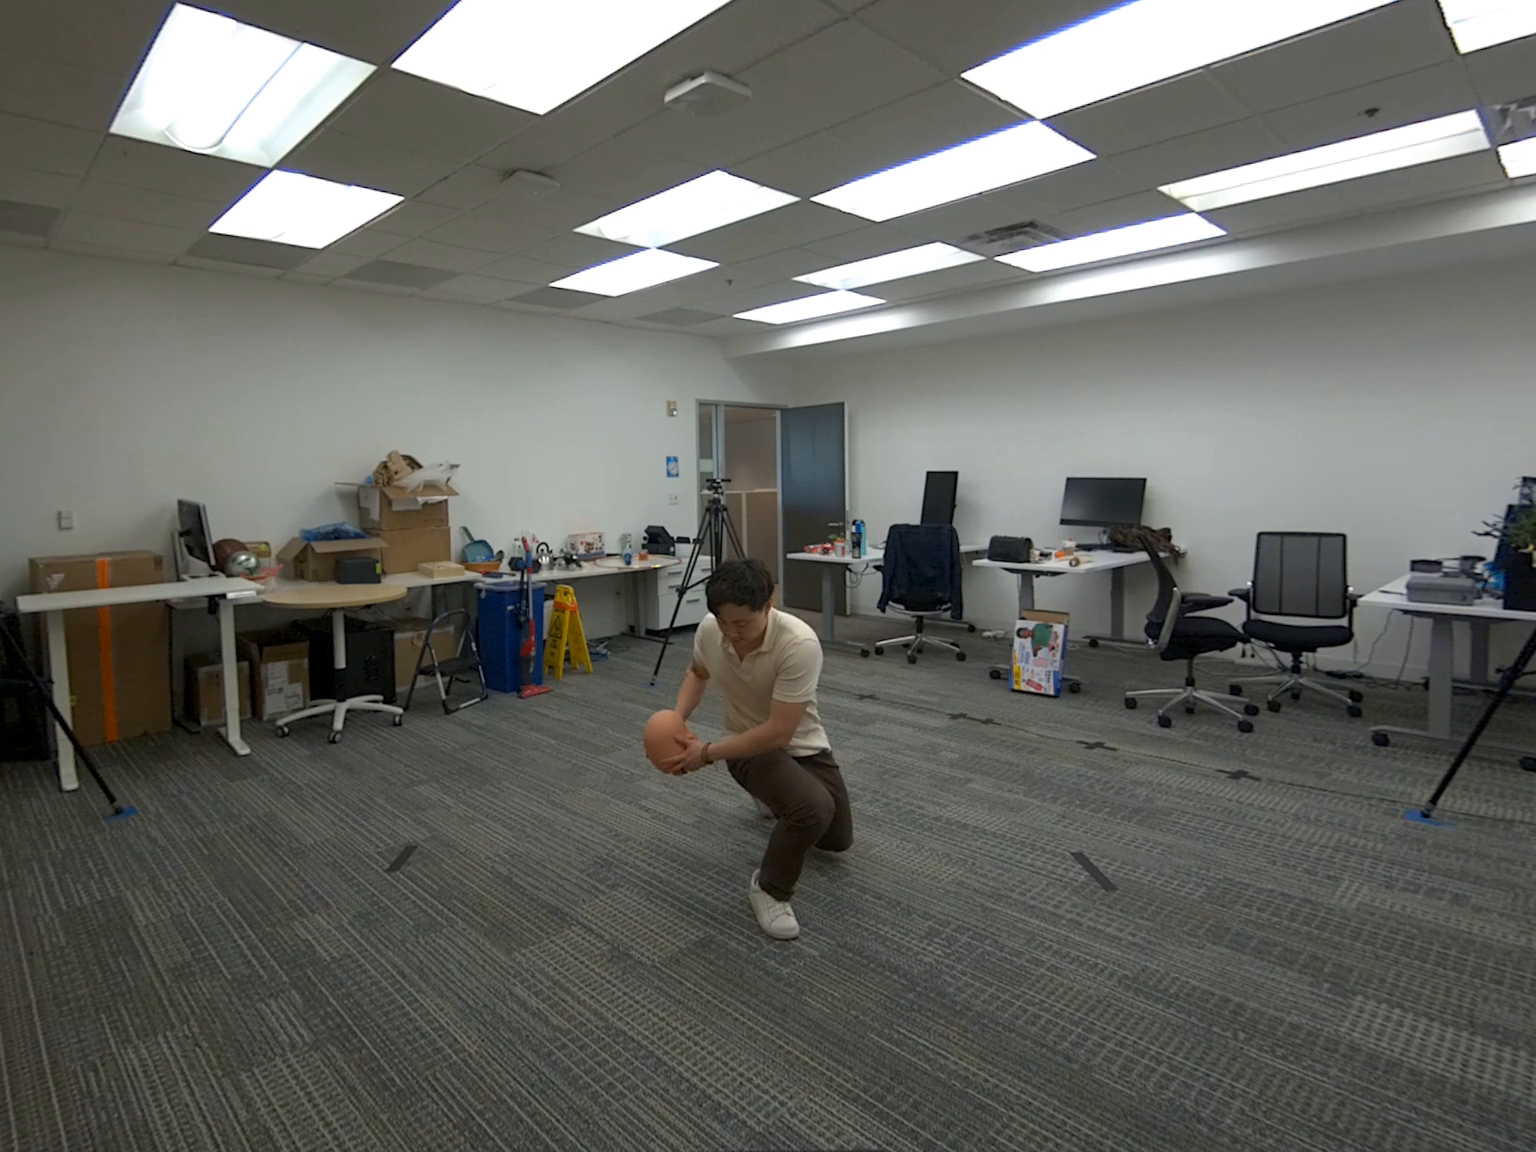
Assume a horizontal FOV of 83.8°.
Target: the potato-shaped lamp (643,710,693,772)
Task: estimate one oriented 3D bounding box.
[{"bbox_3d":[-0.302,0.521,2.752,0.164,0.199,0.171,-14,-2,-2],"label":"potato-shaped lamp"}]
